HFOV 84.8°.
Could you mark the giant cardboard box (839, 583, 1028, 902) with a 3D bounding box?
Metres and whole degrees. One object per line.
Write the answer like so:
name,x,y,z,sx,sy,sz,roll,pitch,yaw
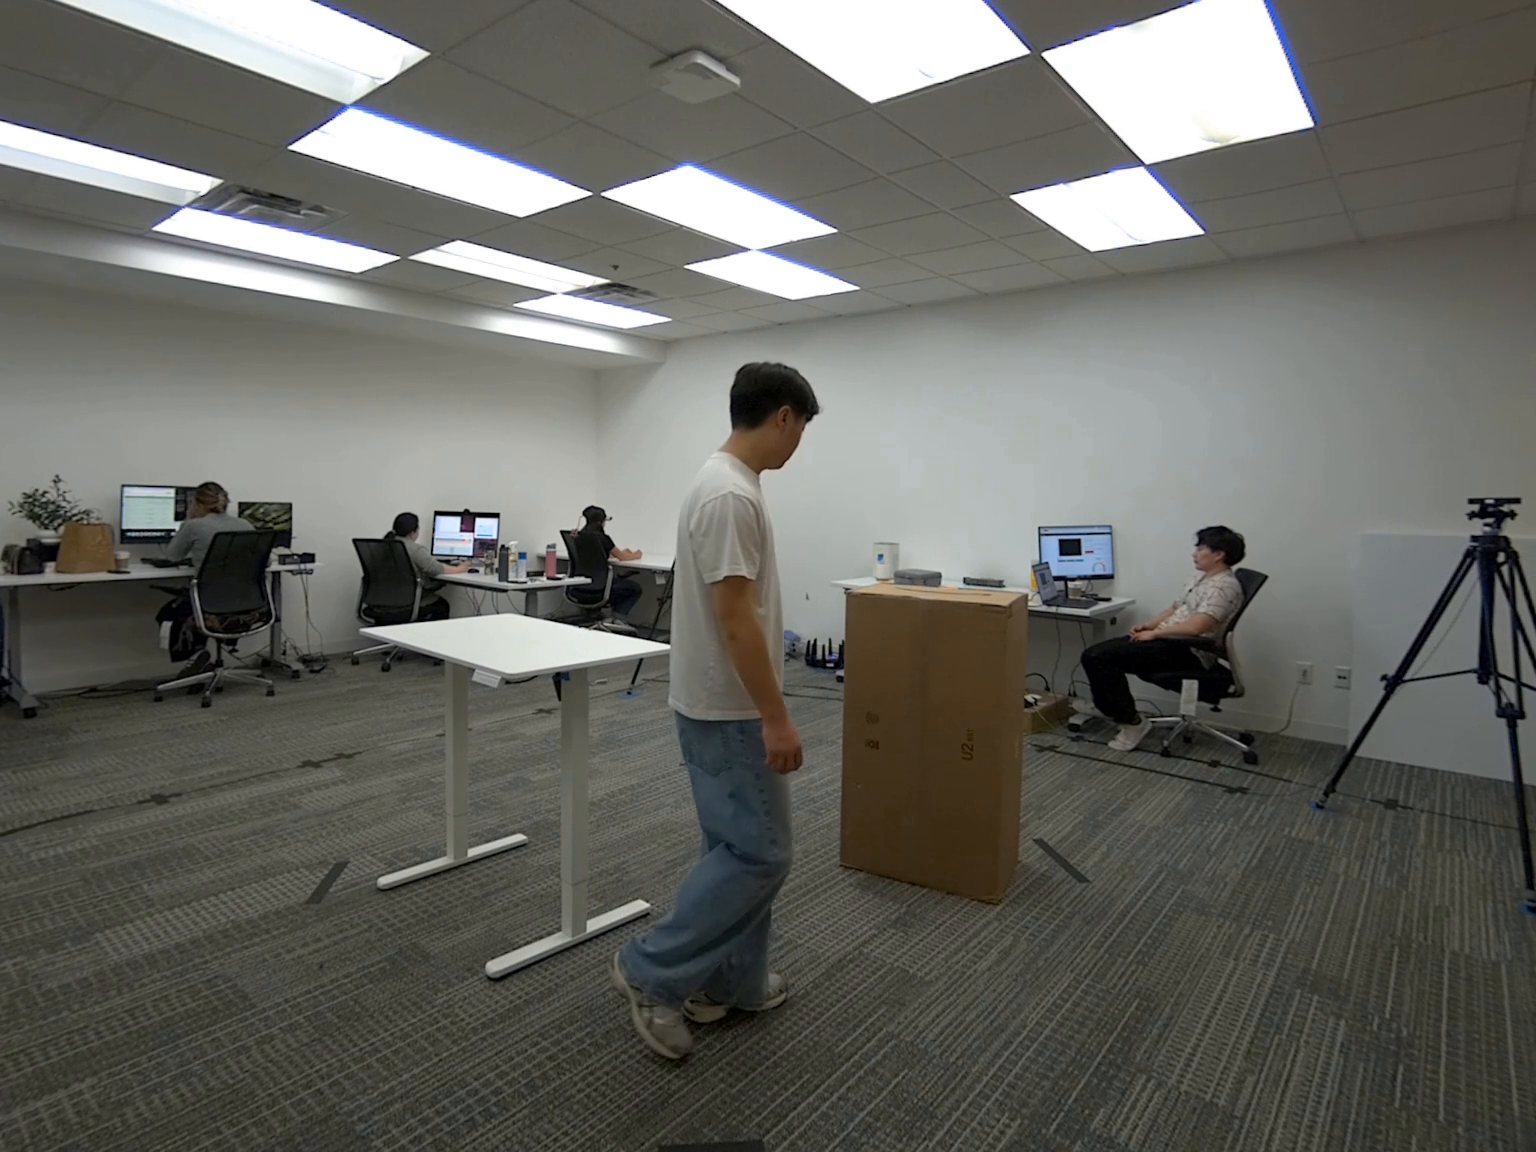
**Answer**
giant cardboard box,0.612,0.566,3.180,0.594,1.023,0.415,3,3,28
